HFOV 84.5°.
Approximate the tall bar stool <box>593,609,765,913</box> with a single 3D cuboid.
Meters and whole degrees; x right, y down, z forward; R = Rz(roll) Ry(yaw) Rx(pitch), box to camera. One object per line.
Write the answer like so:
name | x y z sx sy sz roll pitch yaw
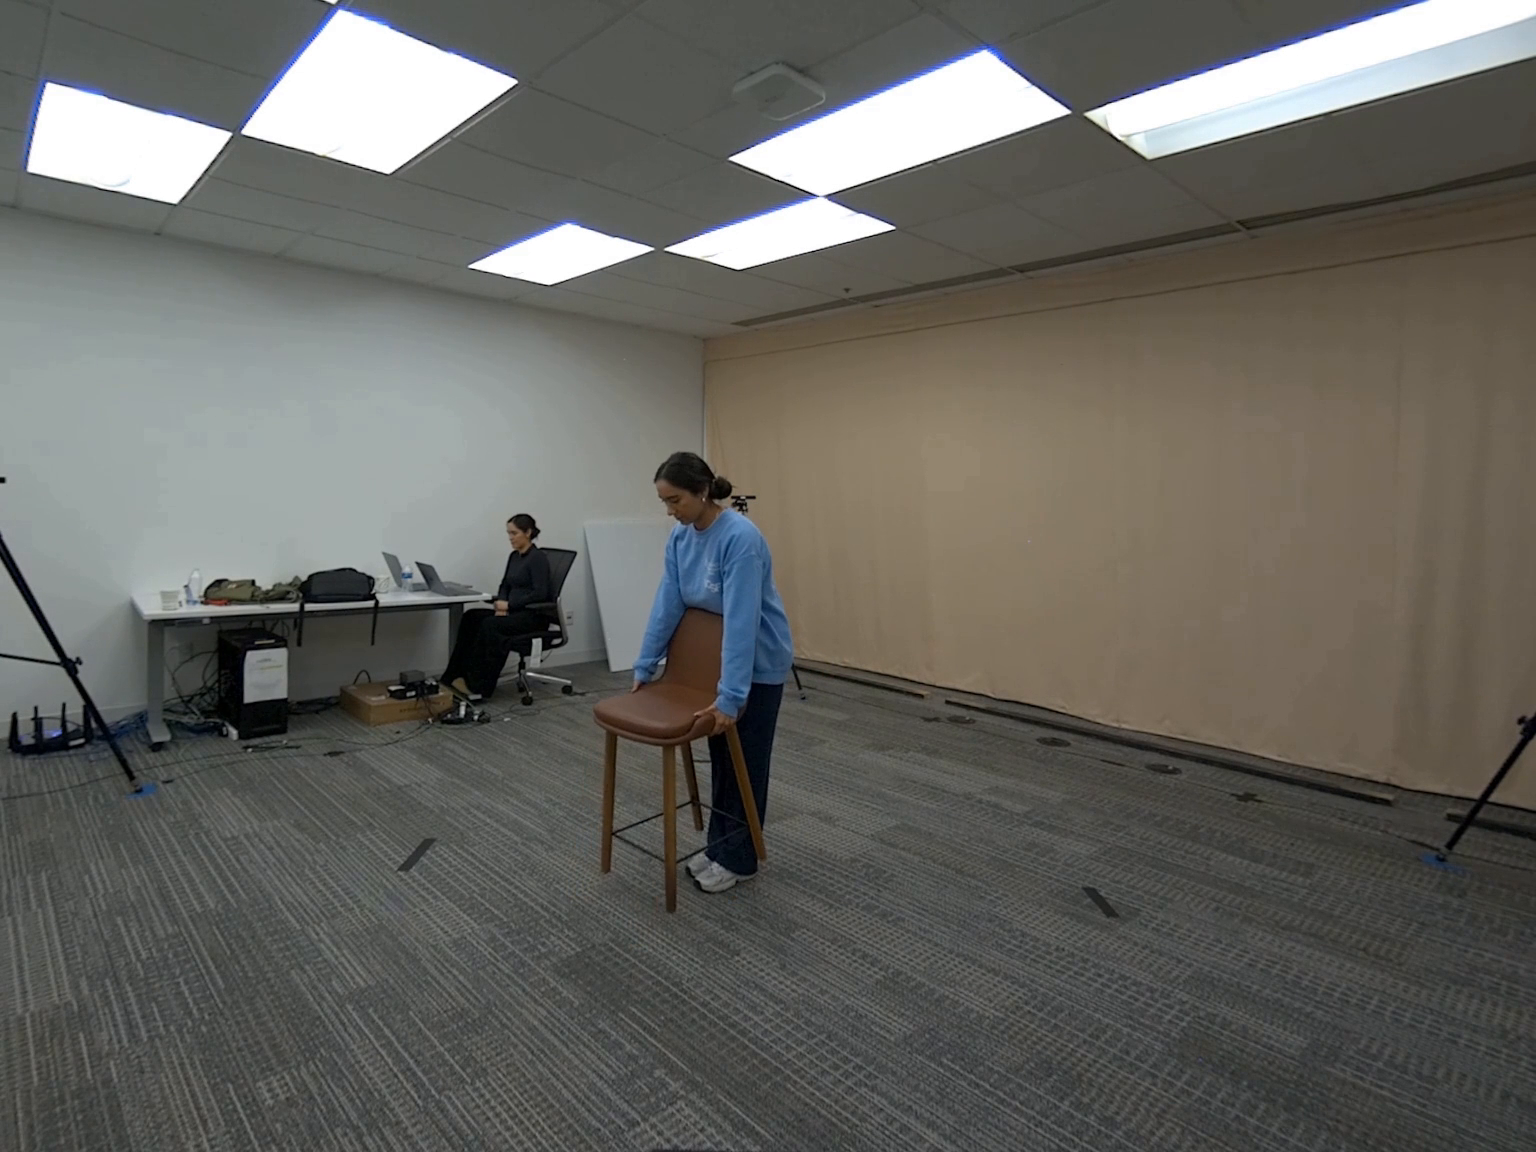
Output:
tall bar stool | -0.325 0.606 2.902 0.458 0.886 0.468 -7 8 -43
